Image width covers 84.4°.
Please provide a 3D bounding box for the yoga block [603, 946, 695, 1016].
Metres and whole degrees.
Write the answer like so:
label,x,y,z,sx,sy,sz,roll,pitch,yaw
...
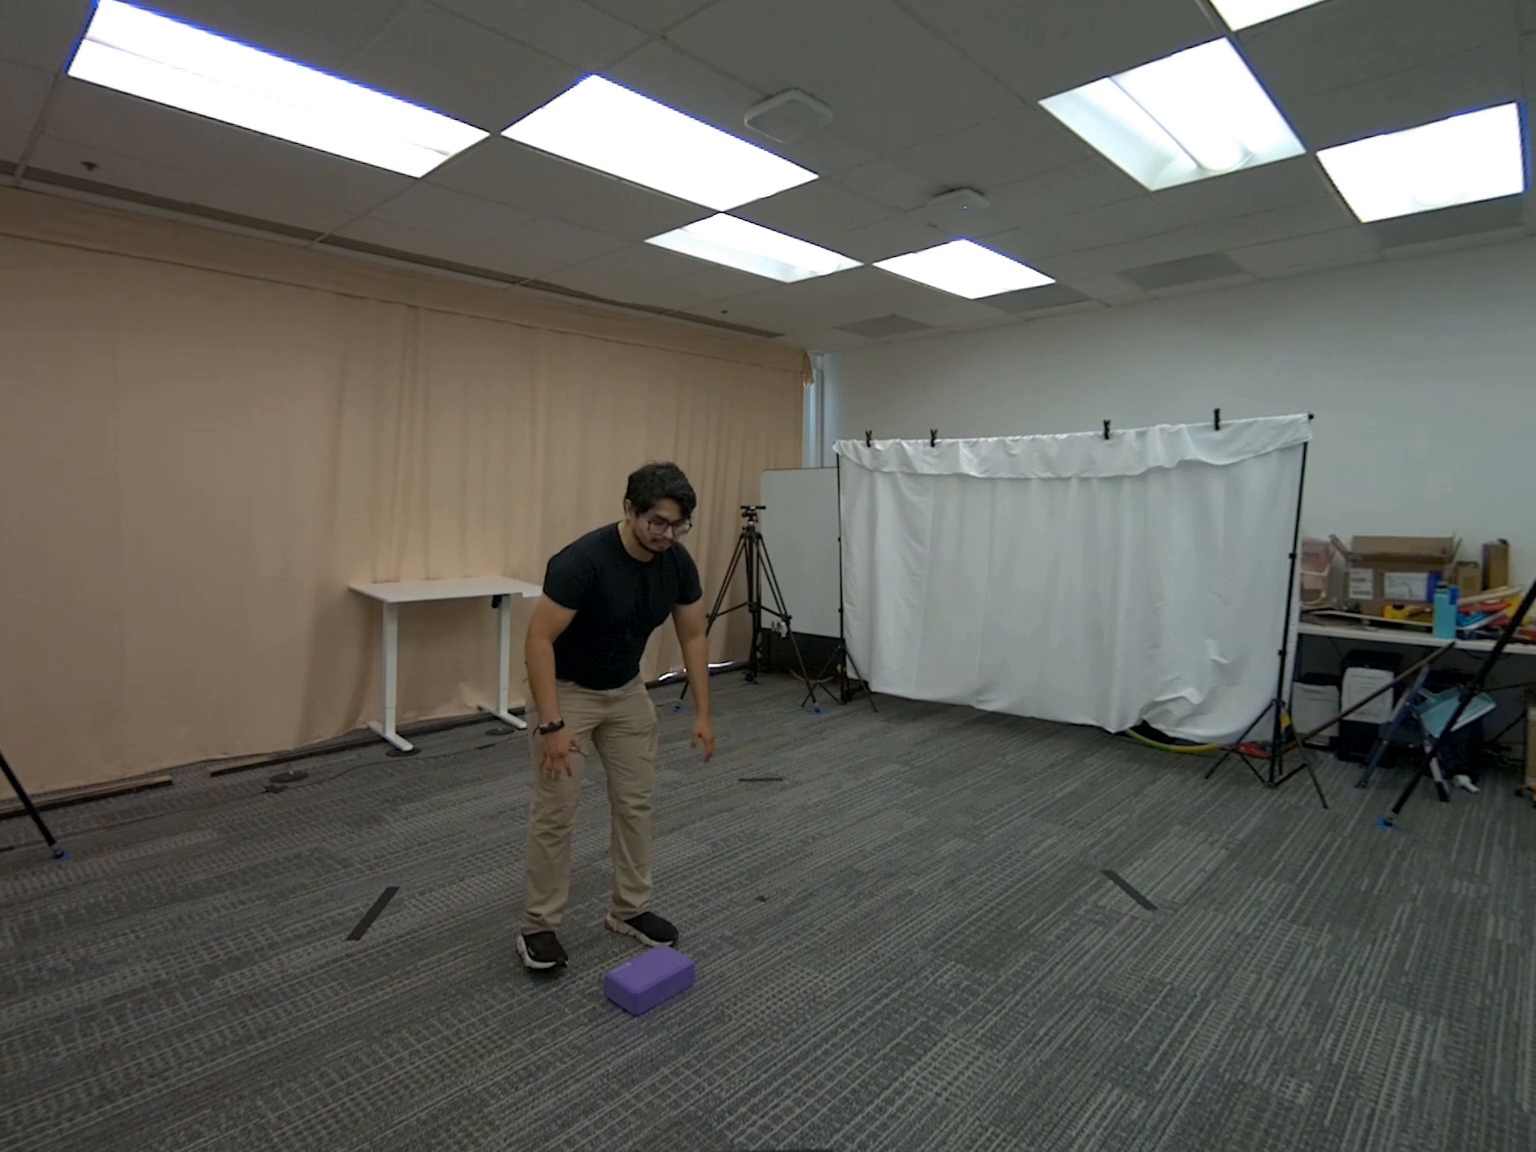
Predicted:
label,x,y,z,sx,sy,sz,roll,pitch,yaw
yoga block,-0.337,1.153,2.413,0.154,0.076,0.222,5,7,43
